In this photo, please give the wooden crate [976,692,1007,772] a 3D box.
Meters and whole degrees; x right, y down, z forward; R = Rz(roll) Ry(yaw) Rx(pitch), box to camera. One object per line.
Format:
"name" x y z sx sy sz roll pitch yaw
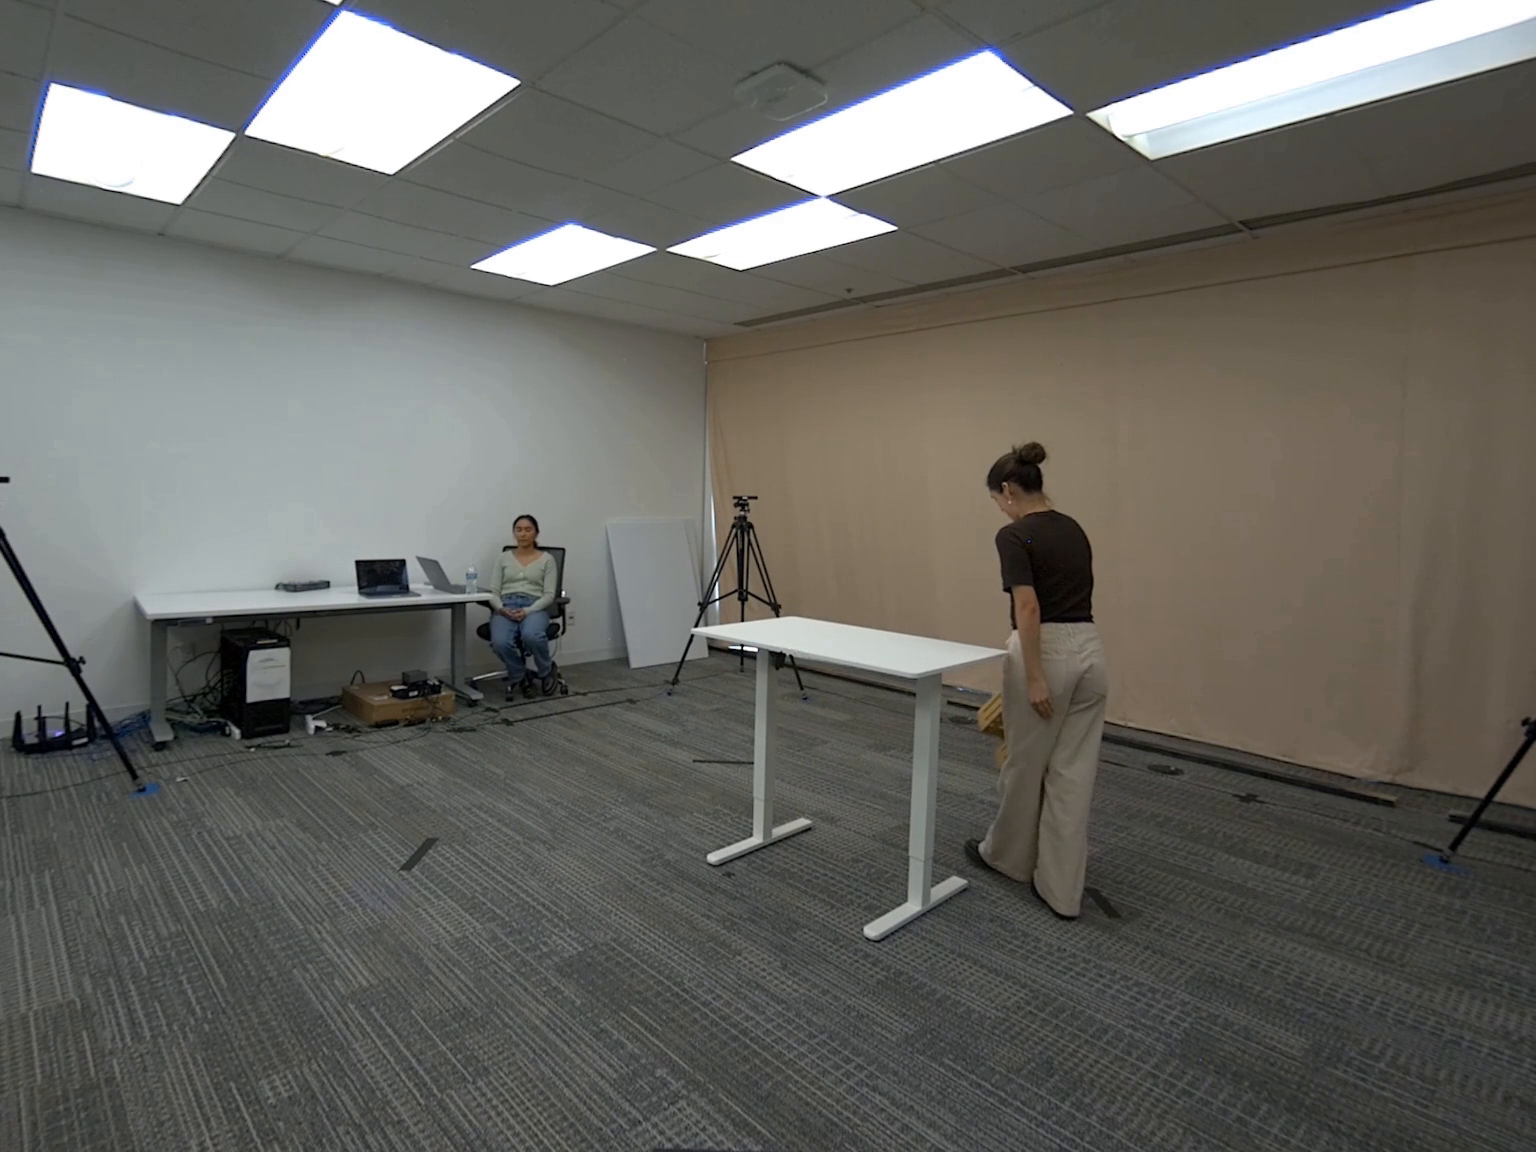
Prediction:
"wooden crate" 1.046 0.598 3.337 0.299 0.279 0.321 14 -44 -12
